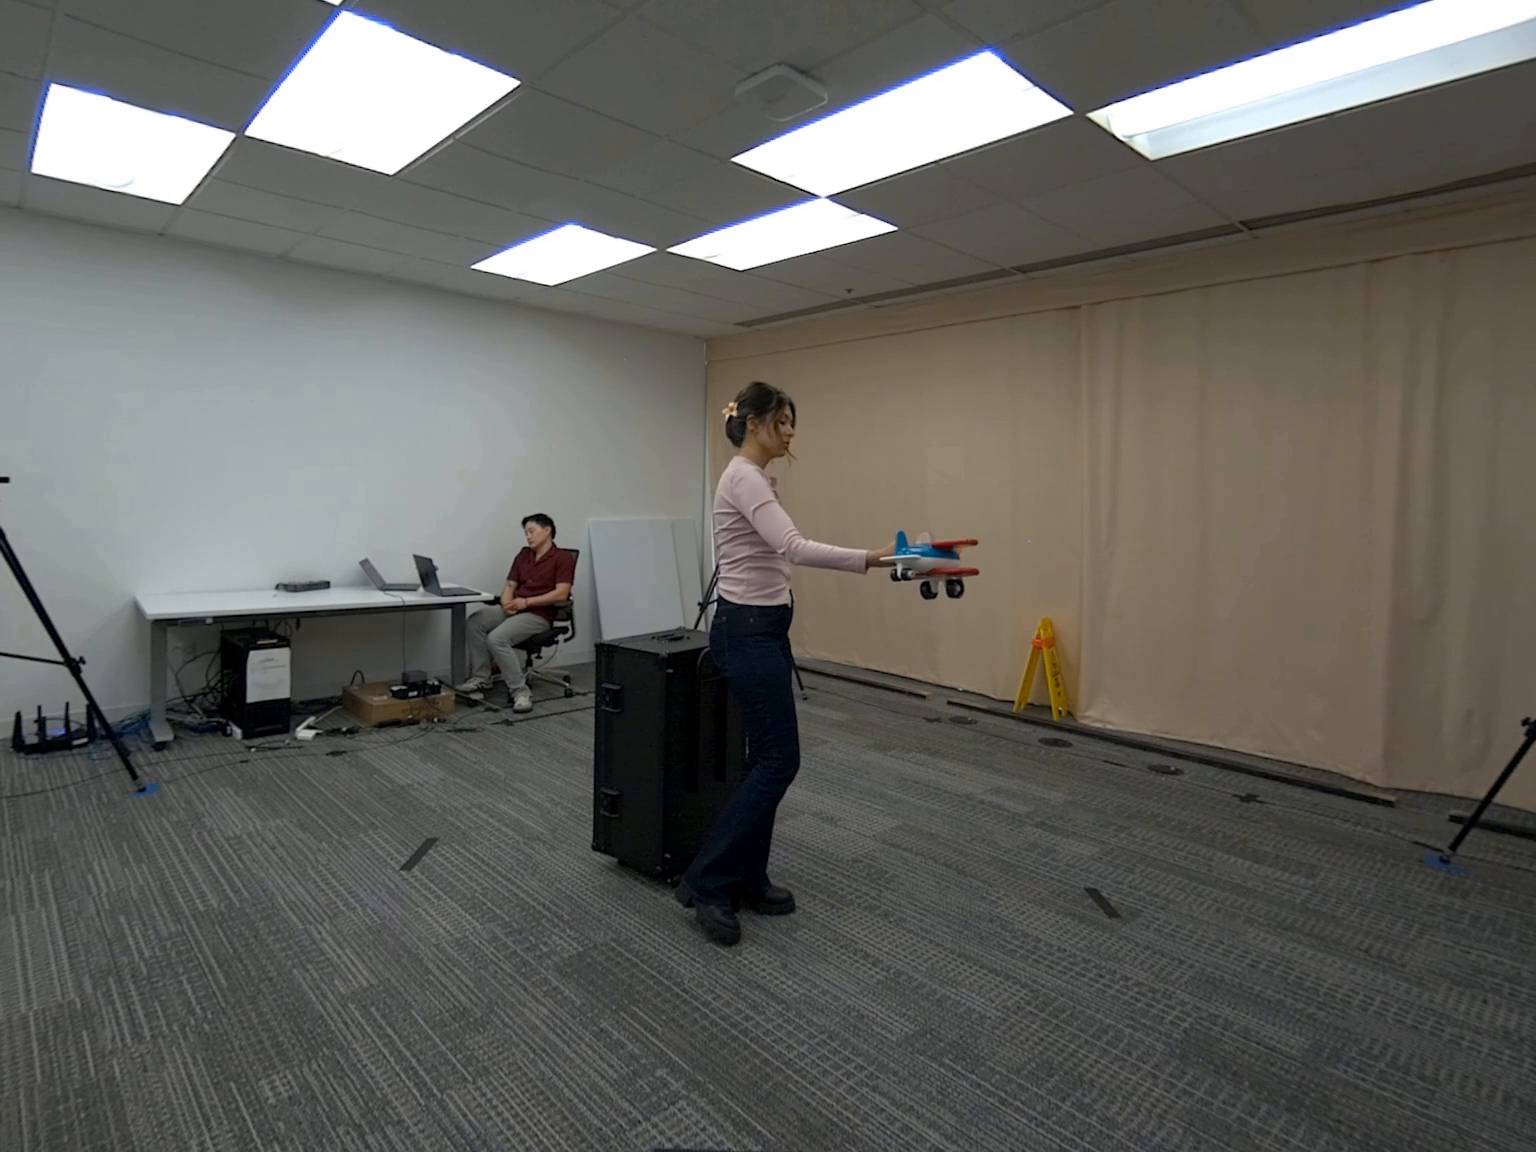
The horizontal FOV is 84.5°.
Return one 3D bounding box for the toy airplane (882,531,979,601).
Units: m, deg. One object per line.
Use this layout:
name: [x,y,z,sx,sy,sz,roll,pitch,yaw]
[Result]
toy airplane: [0.431,-0.035,2.267,0.255,0.158,0.252,4,-17,22]
